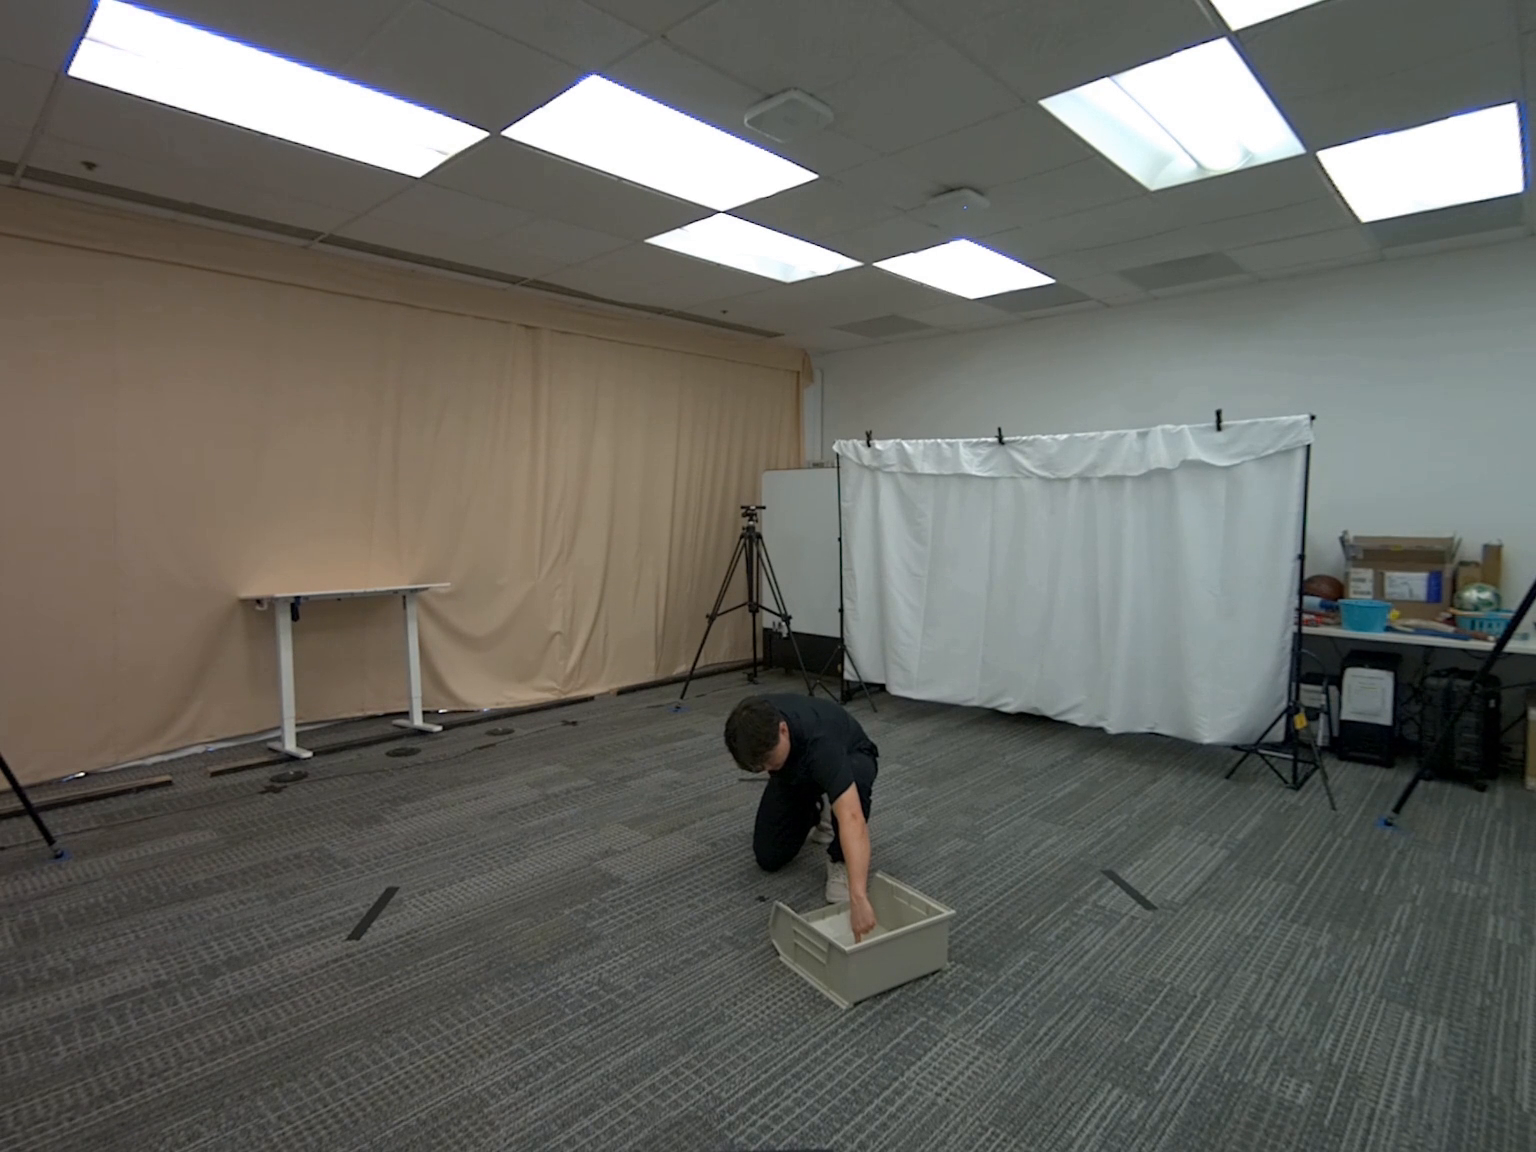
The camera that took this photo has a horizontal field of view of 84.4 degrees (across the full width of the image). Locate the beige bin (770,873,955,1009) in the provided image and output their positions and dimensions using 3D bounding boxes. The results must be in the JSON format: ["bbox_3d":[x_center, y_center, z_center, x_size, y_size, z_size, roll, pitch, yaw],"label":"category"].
[{"bbox_3d":[0.280,1.083,2.574,0.410,0.188,0.389,-2,5,-33],"label":"beige bin"}]
